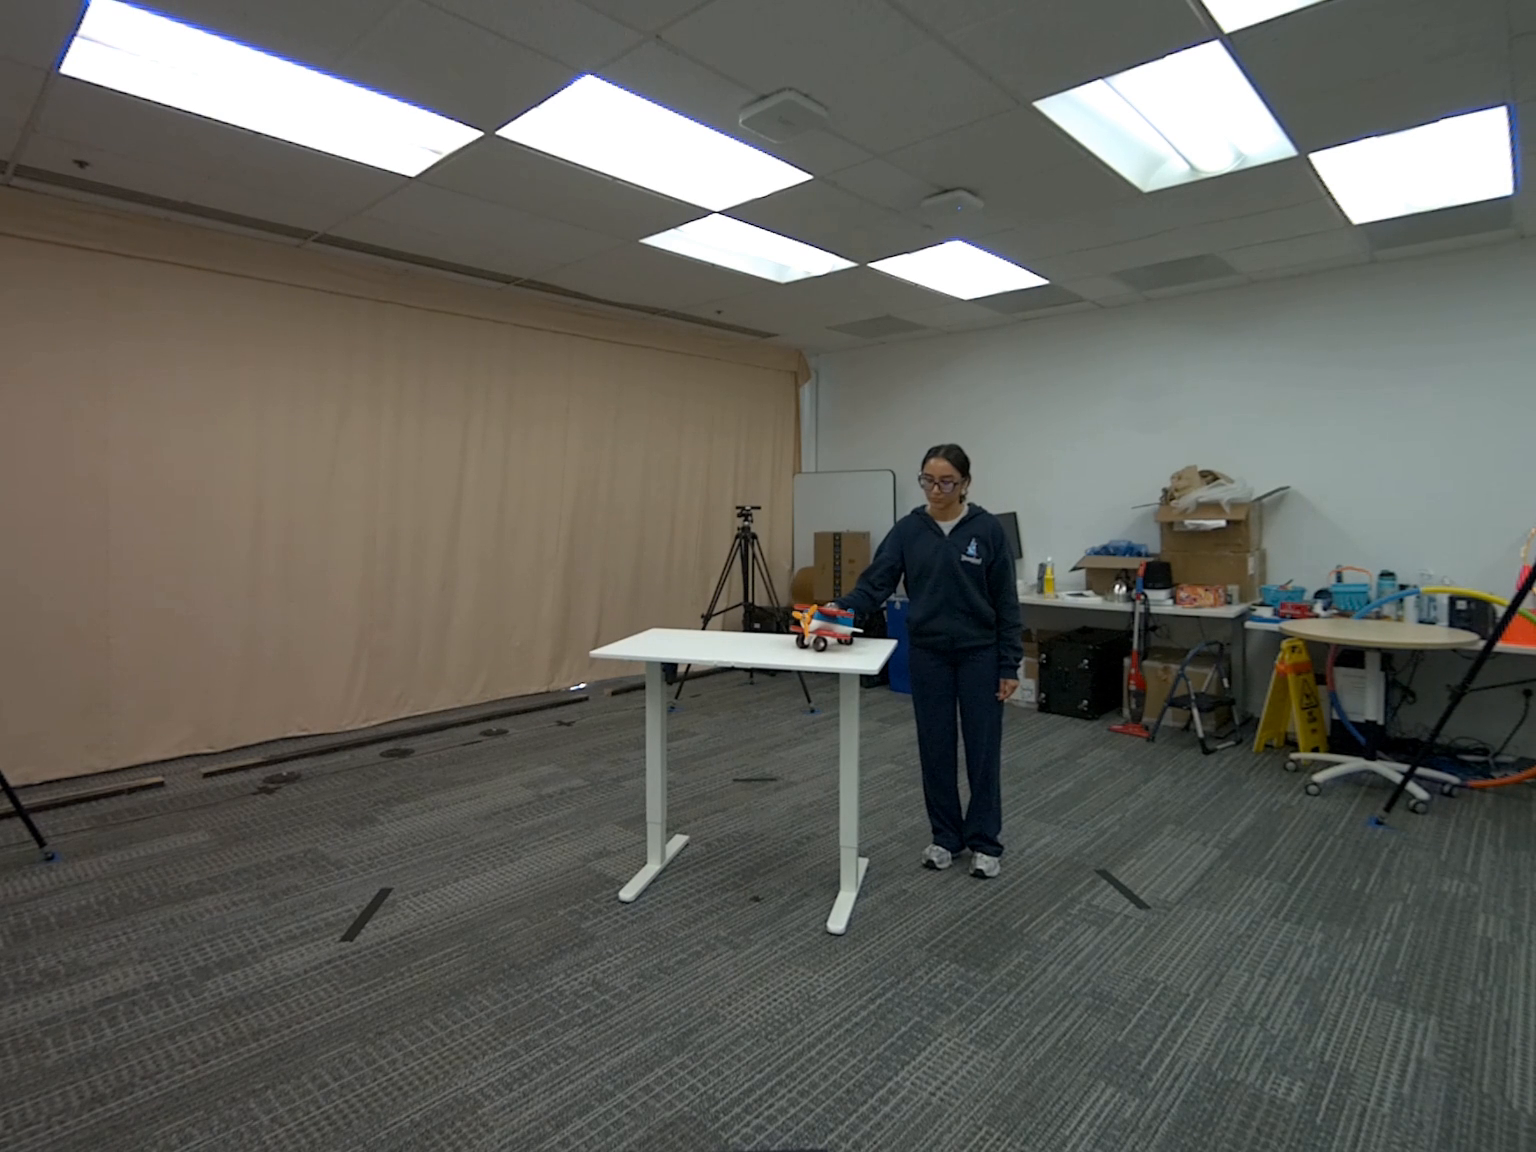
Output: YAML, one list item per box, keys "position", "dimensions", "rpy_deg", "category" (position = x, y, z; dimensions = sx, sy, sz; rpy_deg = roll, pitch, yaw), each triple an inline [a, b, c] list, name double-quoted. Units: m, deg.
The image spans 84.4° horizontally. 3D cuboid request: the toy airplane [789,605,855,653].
- position: [0.211, 0.177, 3.039]
  dimensions: [0.257, 0.156, 0.254]
  rpy_deg: [0, 5, 21]
  category: "toy airplane"
